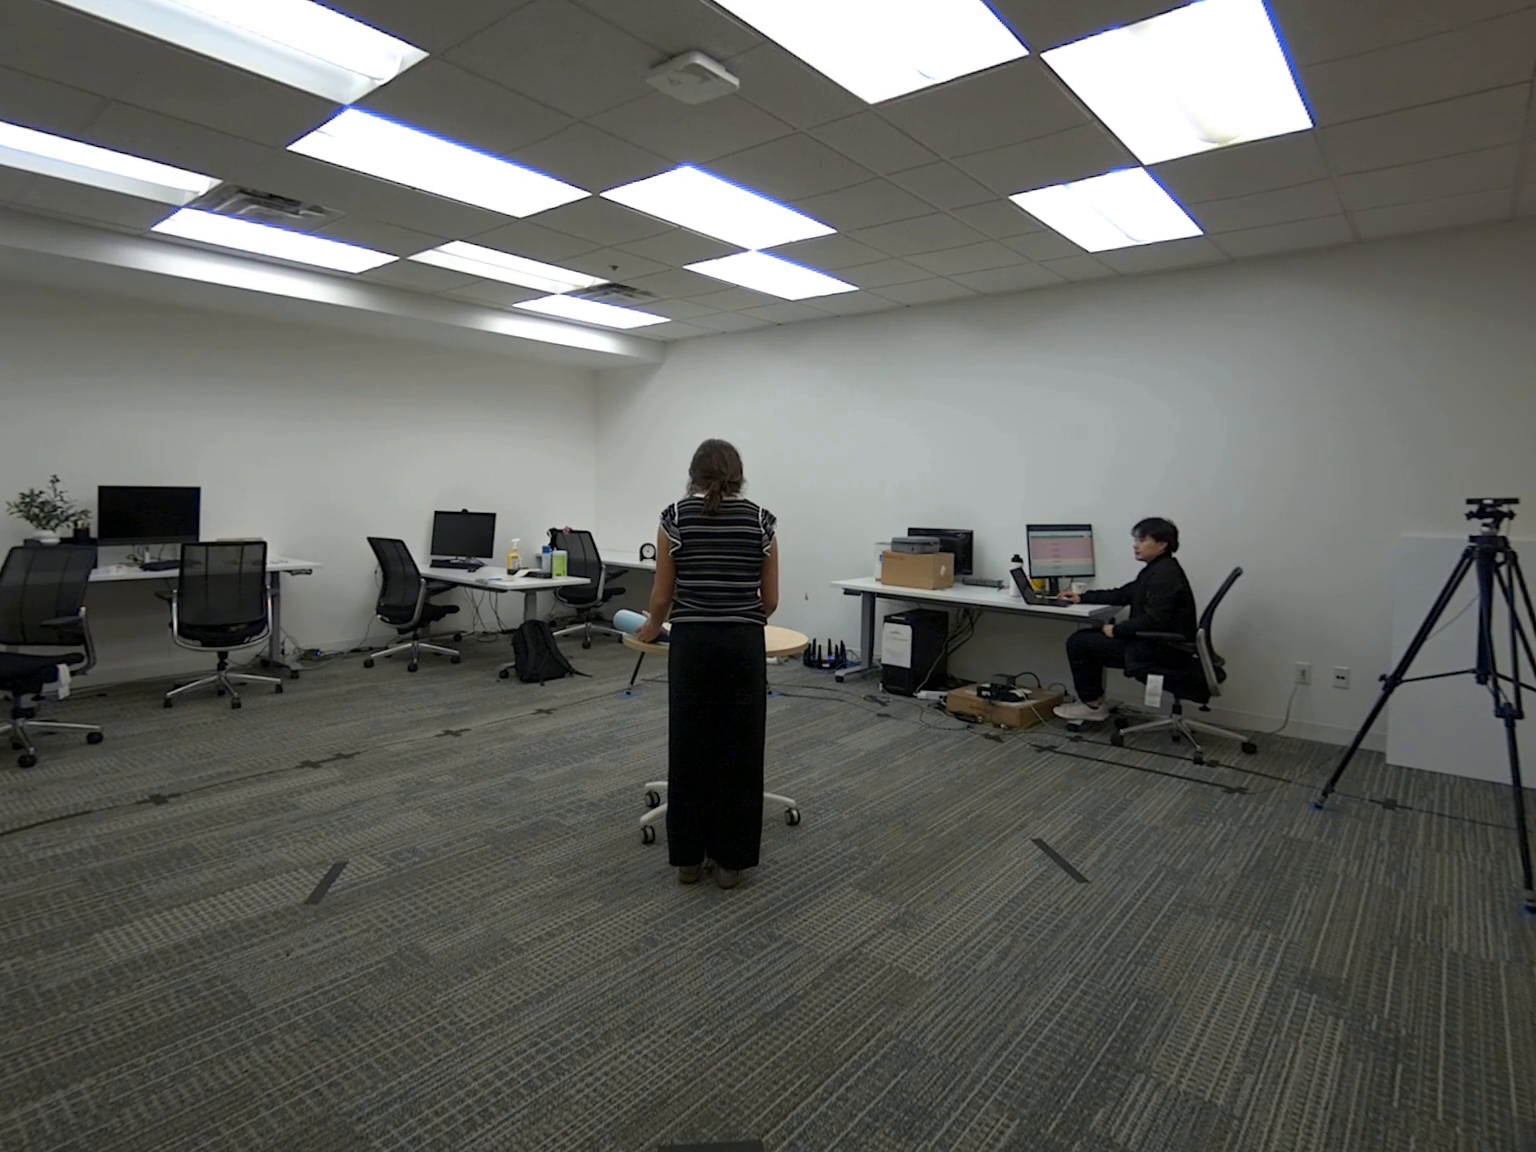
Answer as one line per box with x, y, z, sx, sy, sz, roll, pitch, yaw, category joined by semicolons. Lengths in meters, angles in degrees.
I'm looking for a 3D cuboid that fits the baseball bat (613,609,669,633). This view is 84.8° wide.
-0.405;0.223;3.294;0.086;0.088;0.564;-3;12;-43;baseball bat
